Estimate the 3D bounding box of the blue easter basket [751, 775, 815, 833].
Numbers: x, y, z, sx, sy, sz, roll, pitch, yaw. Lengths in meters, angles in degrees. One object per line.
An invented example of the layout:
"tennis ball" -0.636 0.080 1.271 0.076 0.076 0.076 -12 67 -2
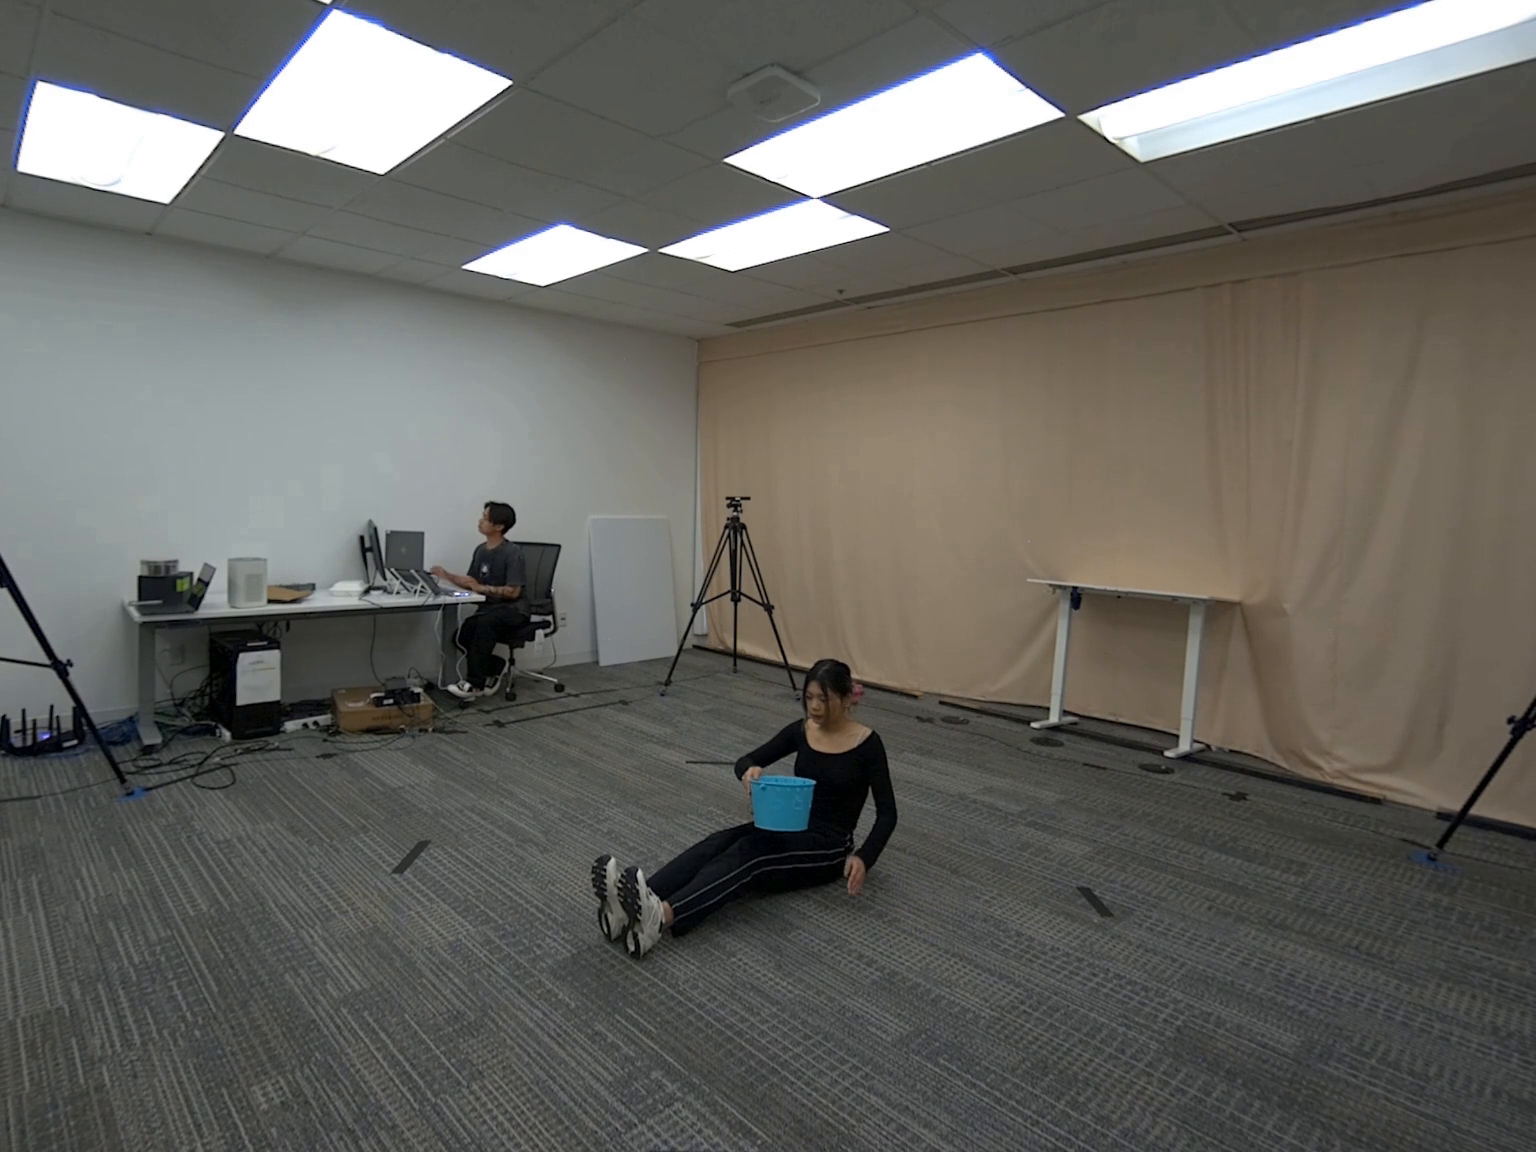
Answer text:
"blue easter basket" 0.039 0.782 2.880 0.243 0.157 0.242 2 -6 -1
